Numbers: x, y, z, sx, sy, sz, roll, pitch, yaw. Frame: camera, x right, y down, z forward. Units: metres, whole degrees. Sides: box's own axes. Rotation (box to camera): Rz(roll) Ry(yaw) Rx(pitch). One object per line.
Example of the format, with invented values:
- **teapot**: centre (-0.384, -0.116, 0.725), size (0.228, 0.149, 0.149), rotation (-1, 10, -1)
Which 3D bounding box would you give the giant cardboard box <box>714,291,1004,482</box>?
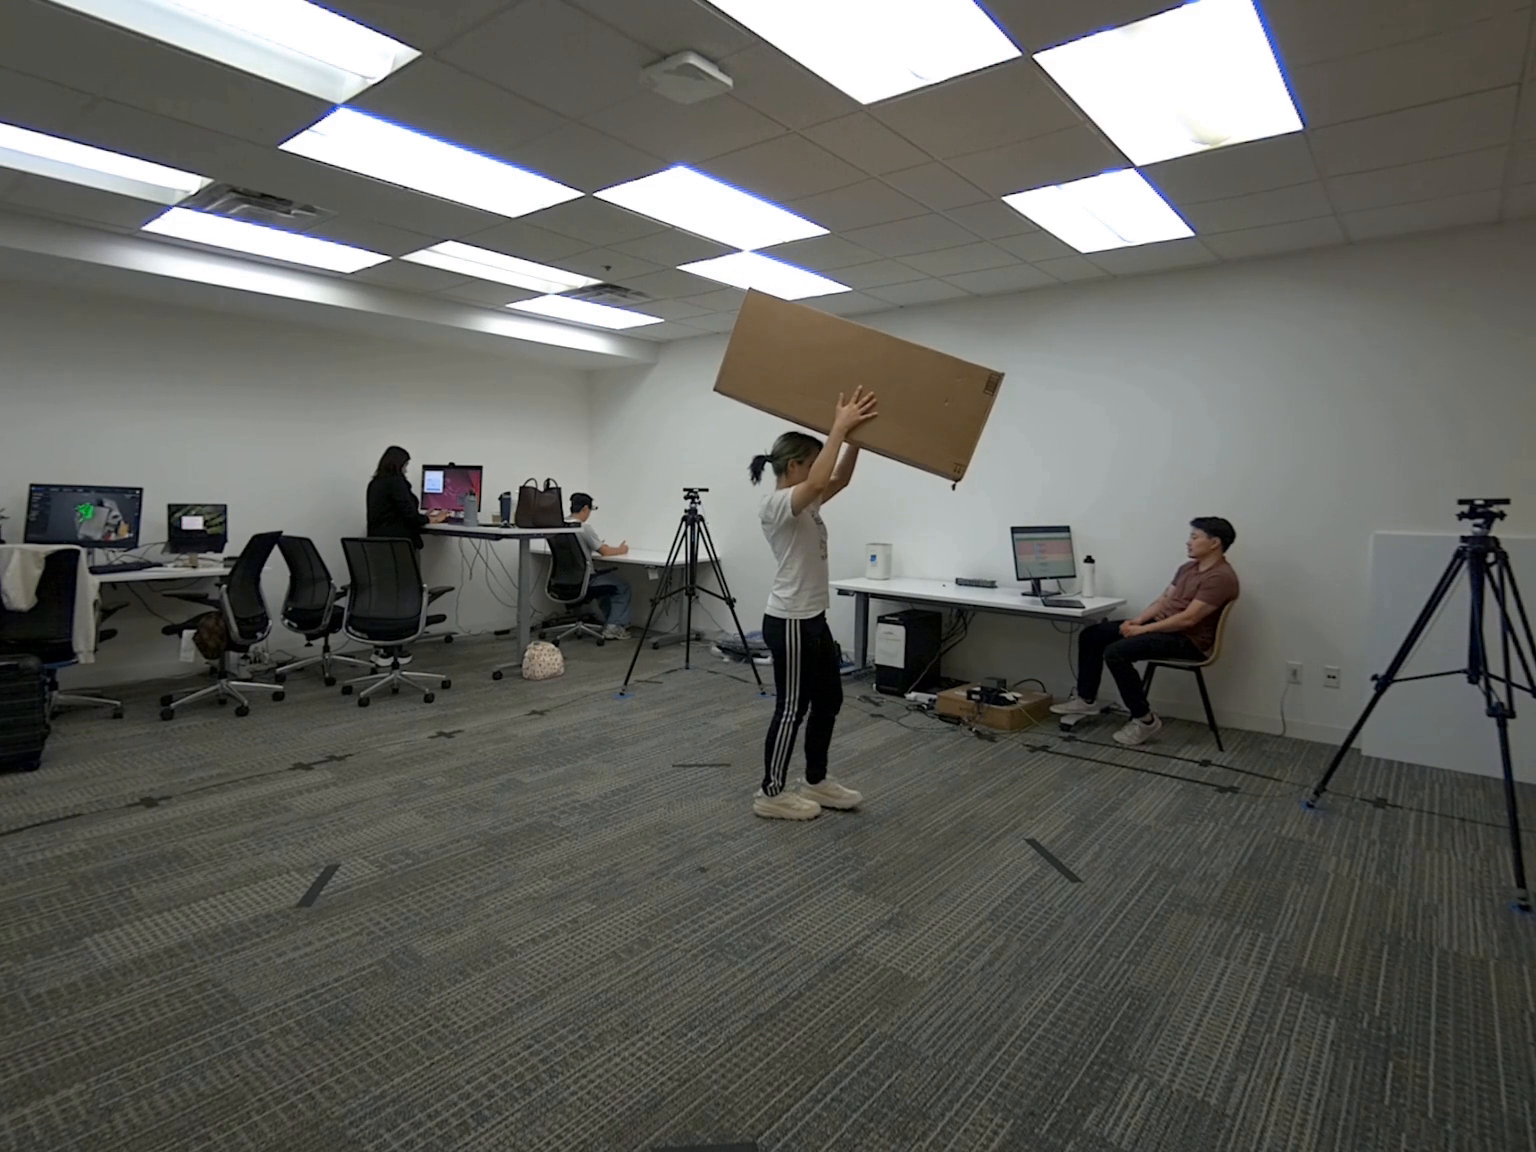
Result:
- **giant cardboard box**: centre (0.363, -0.777, 3.512), size (1.040, 0.444, 0.580), rotation (22, 10, 8)
